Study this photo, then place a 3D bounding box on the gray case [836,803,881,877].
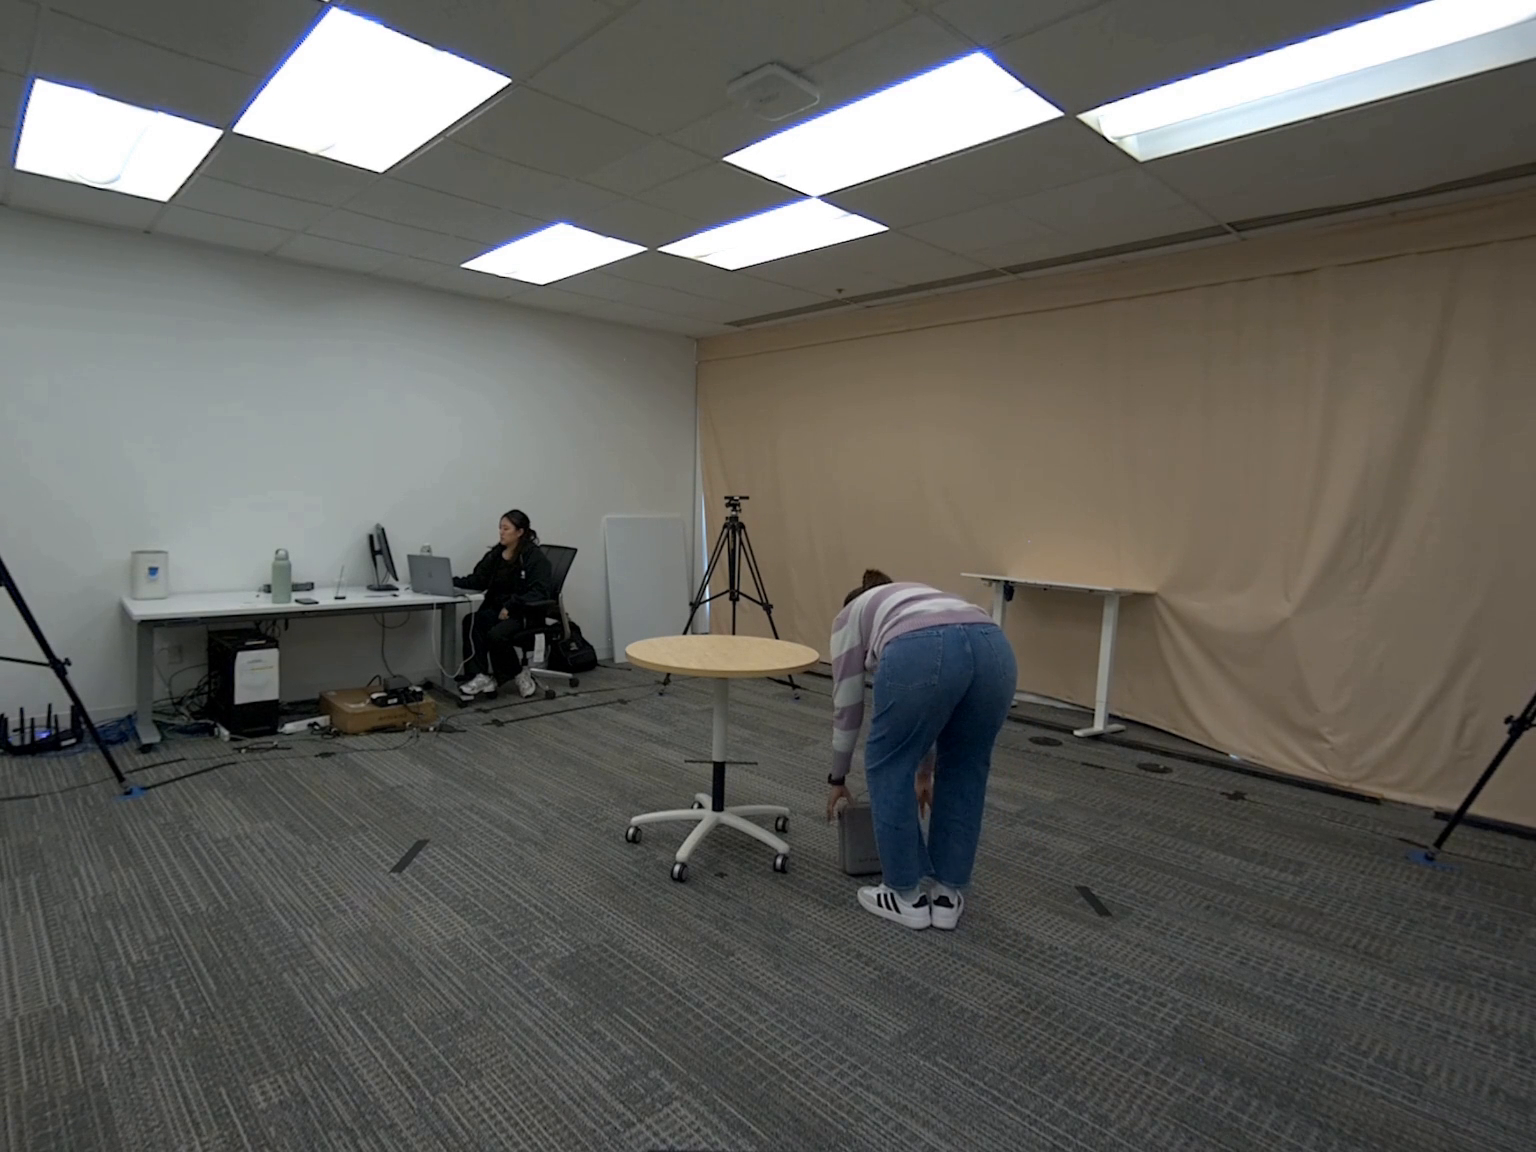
[{"bbox_3d":[0.390,0.981,3.178,0.254,0.261,0.105,1,-5,-16],"label":"gray case"}]
